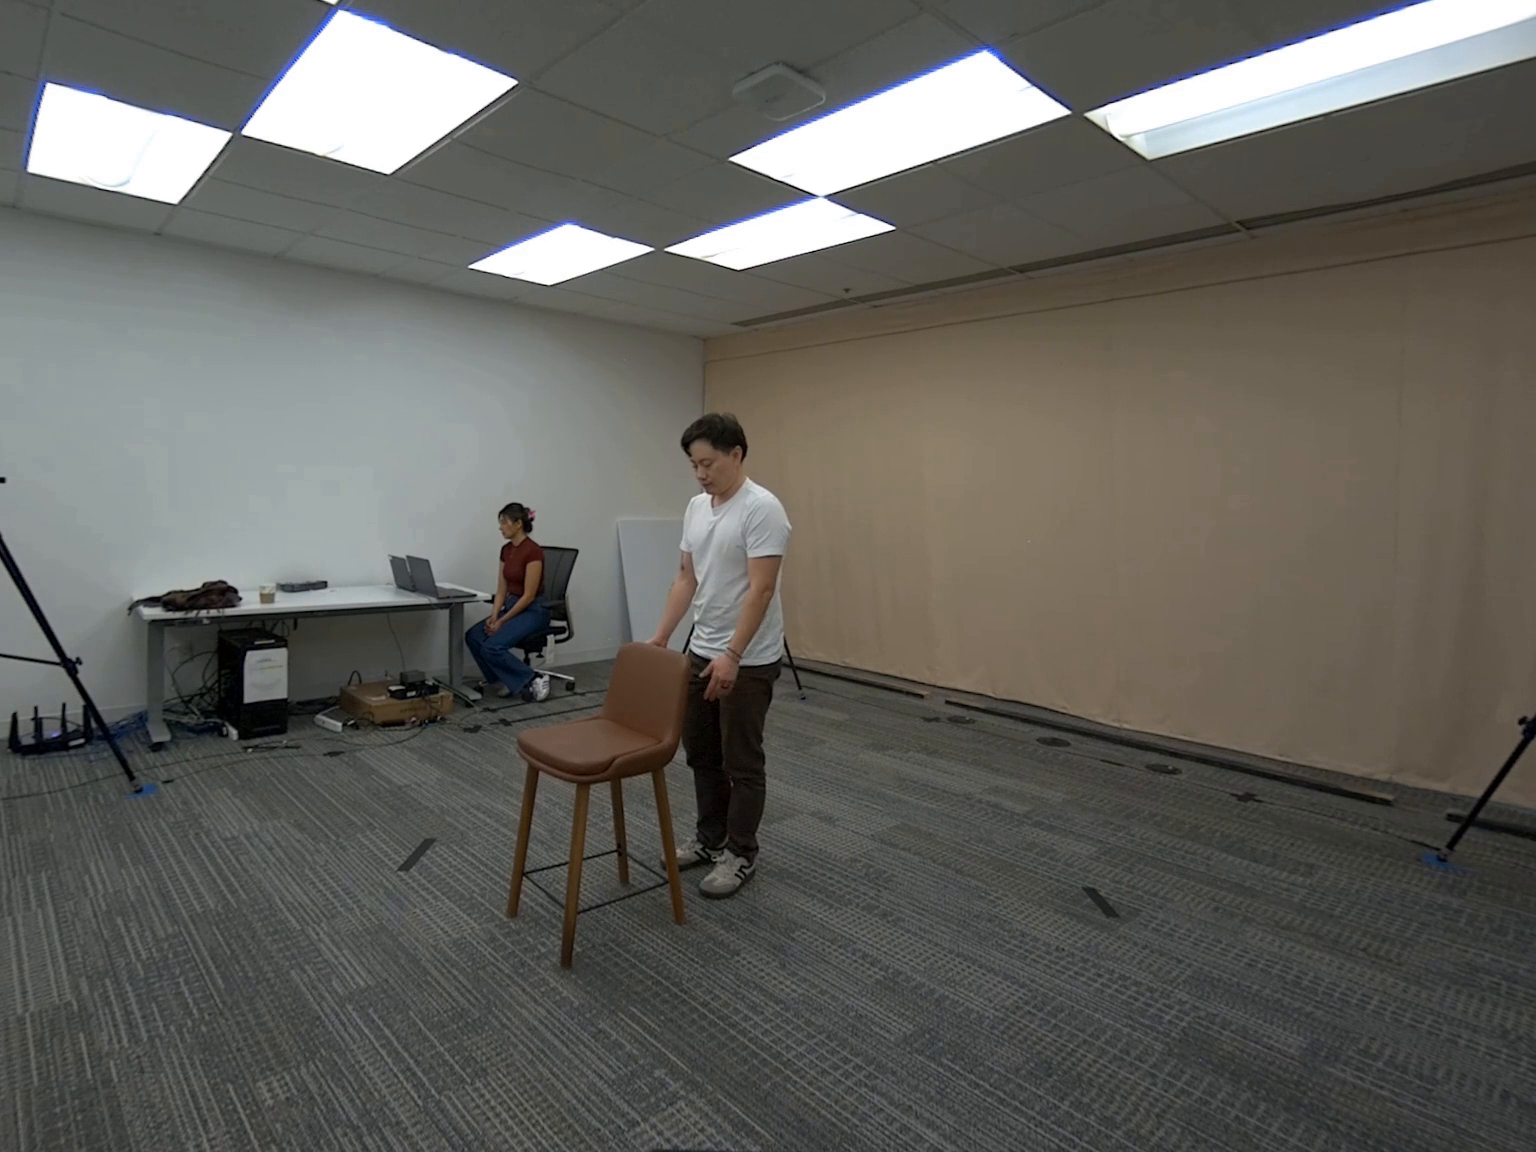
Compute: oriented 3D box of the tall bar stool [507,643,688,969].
[{"bbox_3d":[-0.543,0.692,2.731,0.456,0.888,0.468,1,3,-40],"label":"tall bar stool"}]
